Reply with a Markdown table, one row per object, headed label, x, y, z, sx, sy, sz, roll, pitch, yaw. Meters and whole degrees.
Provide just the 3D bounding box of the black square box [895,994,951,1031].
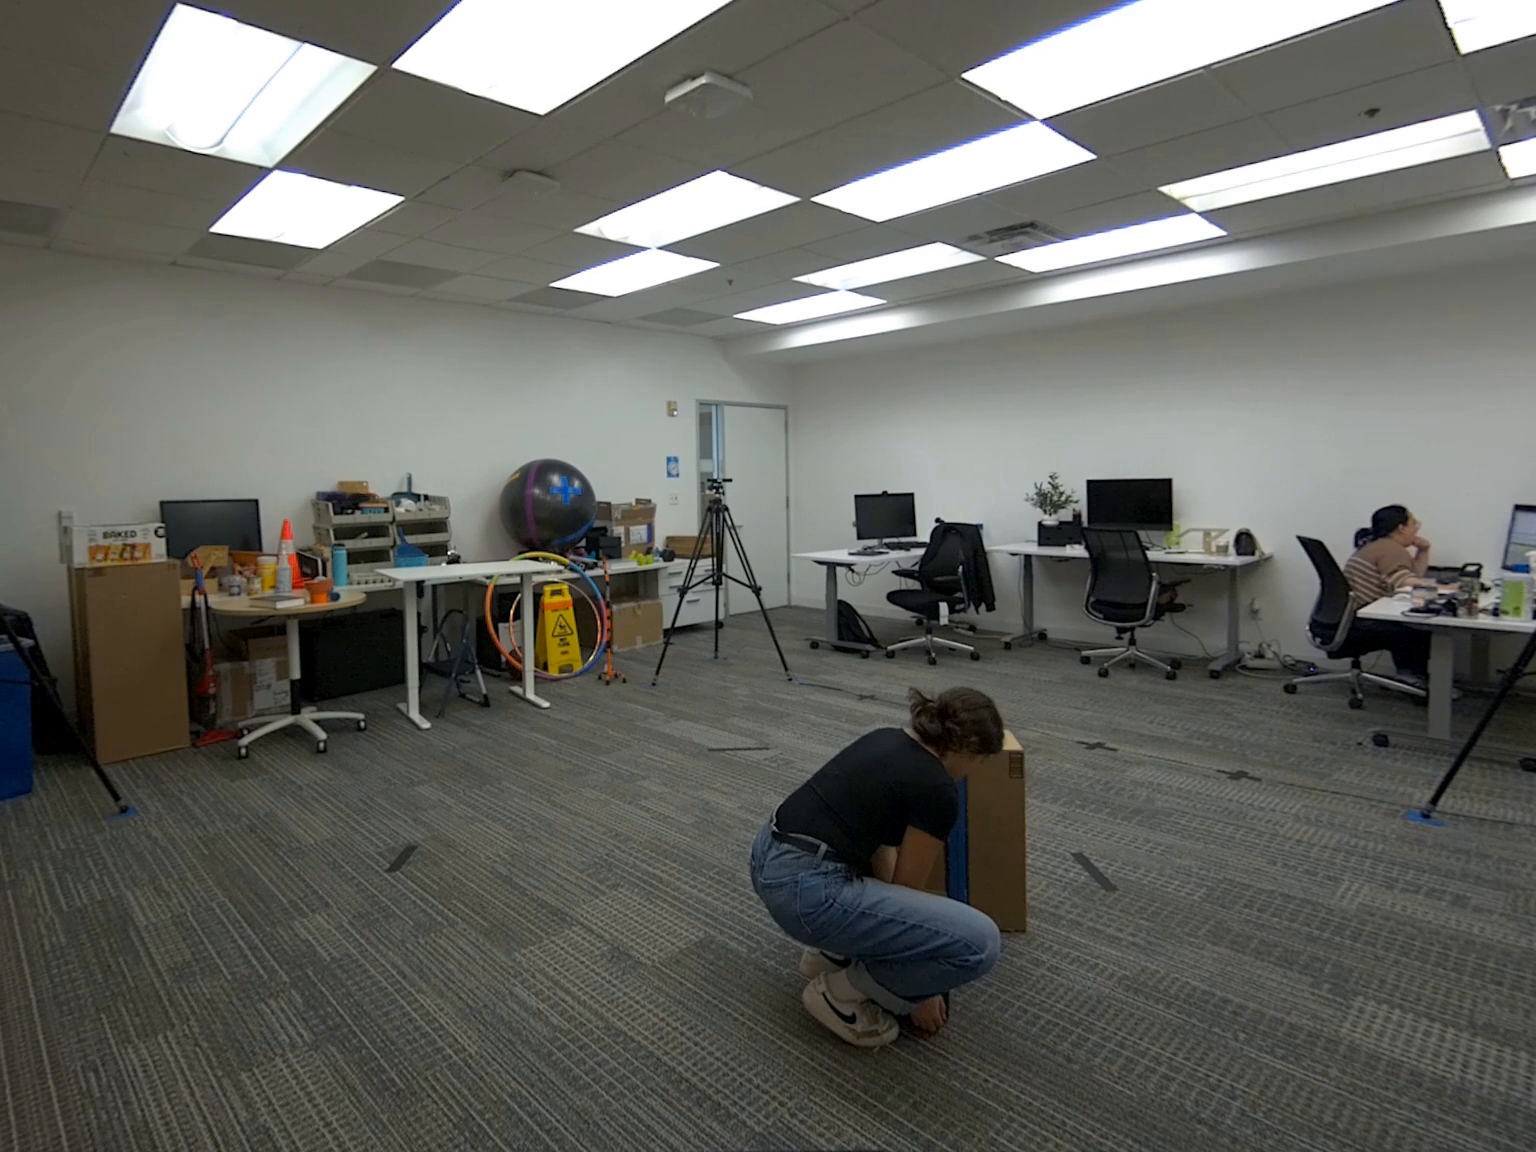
| label | x | y | z | sx | sy | sz | roll | pitch | yaw |
| --- | --- | --- | --- | --- | --- | --- | --- | --- | --- |
| black square box | 0.398 | 1.002 | 2.288 | 0.157 | 0.226 | 0.216 | 2 | 7 | 9 |
